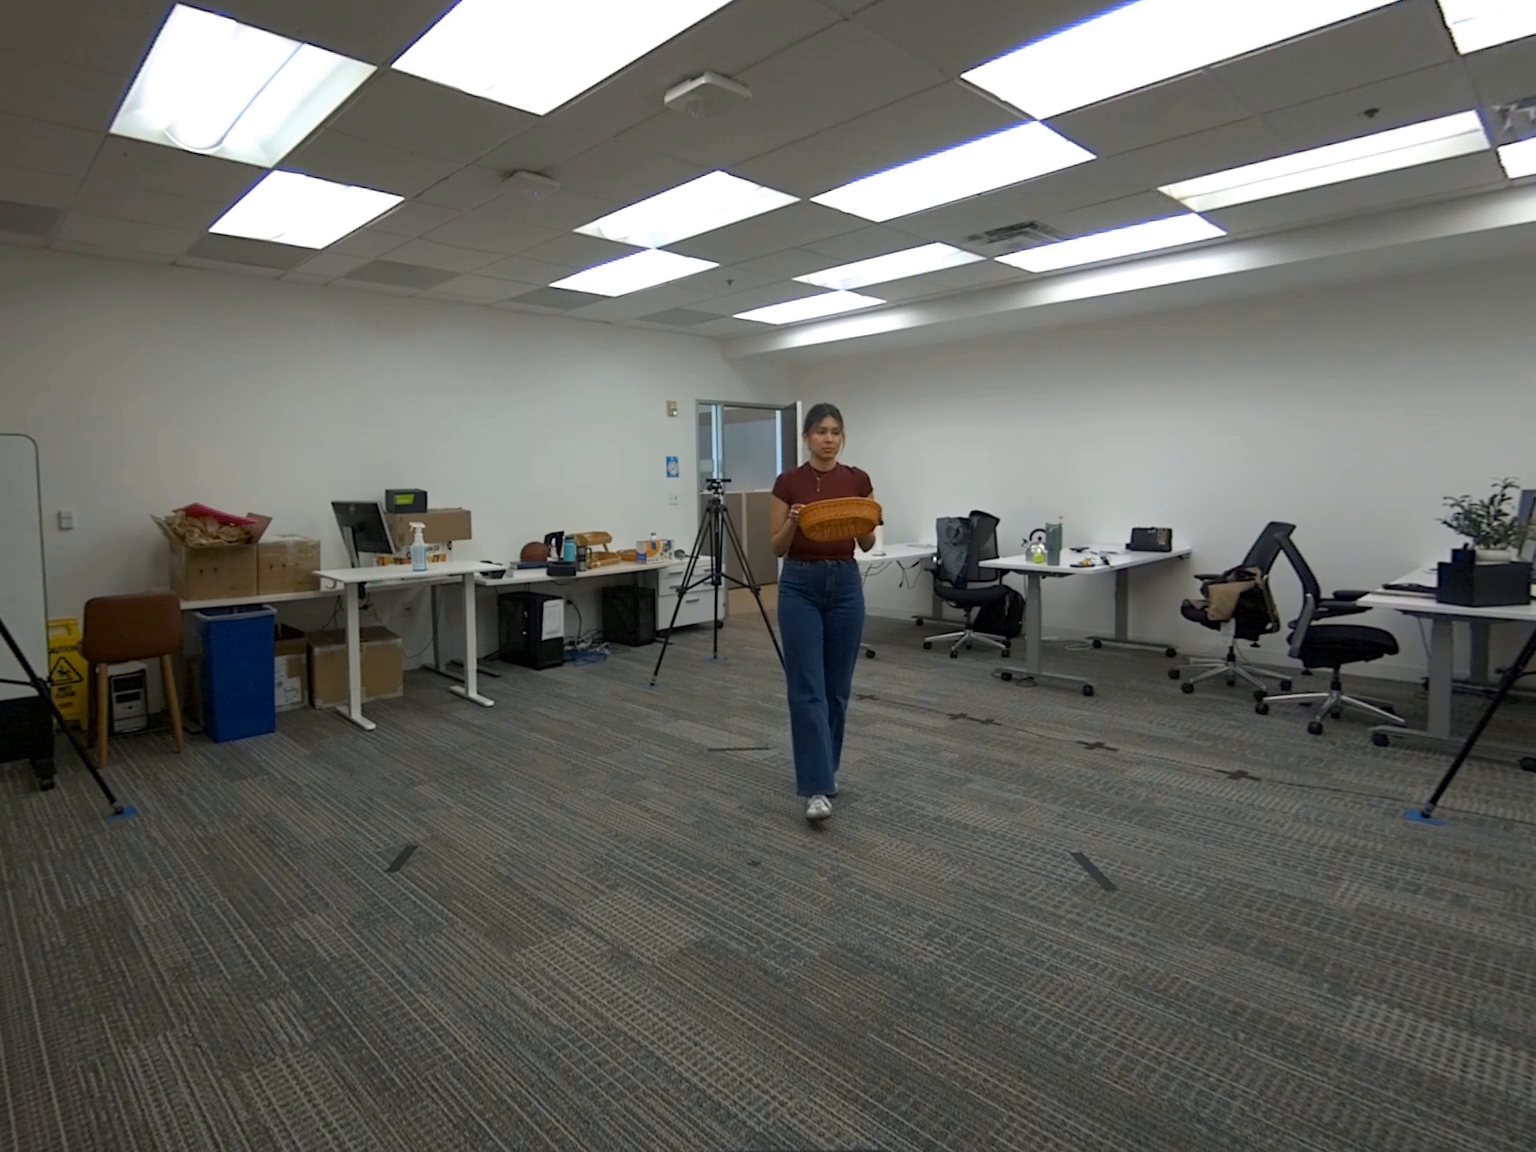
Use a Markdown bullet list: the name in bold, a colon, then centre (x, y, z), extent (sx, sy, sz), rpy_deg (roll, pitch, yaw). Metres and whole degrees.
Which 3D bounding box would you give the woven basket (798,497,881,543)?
- **woven basket**: centre (0.278, -0.211, 3.409), extent (0.353, 0.075, 0.245), rpy_deg (-5, -26, 7)
